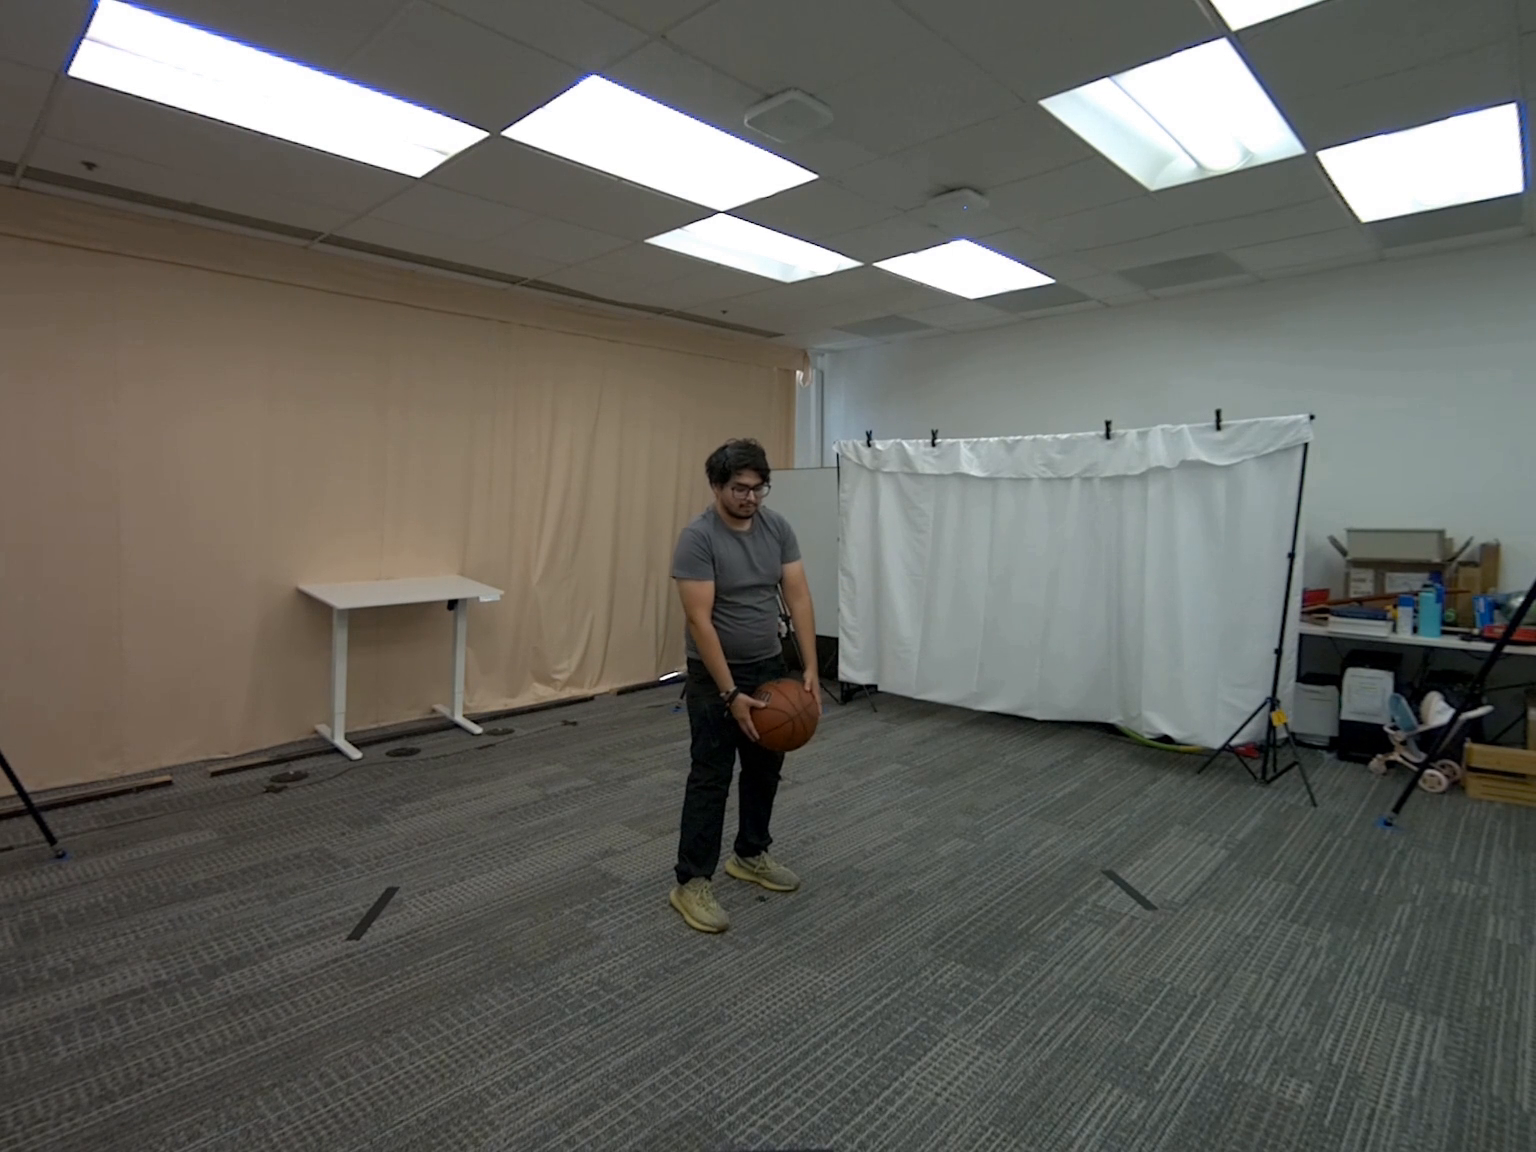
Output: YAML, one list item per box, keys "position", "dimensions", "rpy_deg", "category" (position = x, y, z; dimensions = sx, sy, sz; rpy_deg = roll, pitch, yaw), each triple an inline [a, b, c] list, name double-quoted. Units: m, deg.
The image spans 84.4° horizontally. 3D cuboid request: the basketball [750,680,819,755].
- position: [0.044, 0.456, 2.794]
  dimensions: [0.236, 0.235, 0.237]
  rpy_deg: [0, 4, -2]
  category: "basketball"
